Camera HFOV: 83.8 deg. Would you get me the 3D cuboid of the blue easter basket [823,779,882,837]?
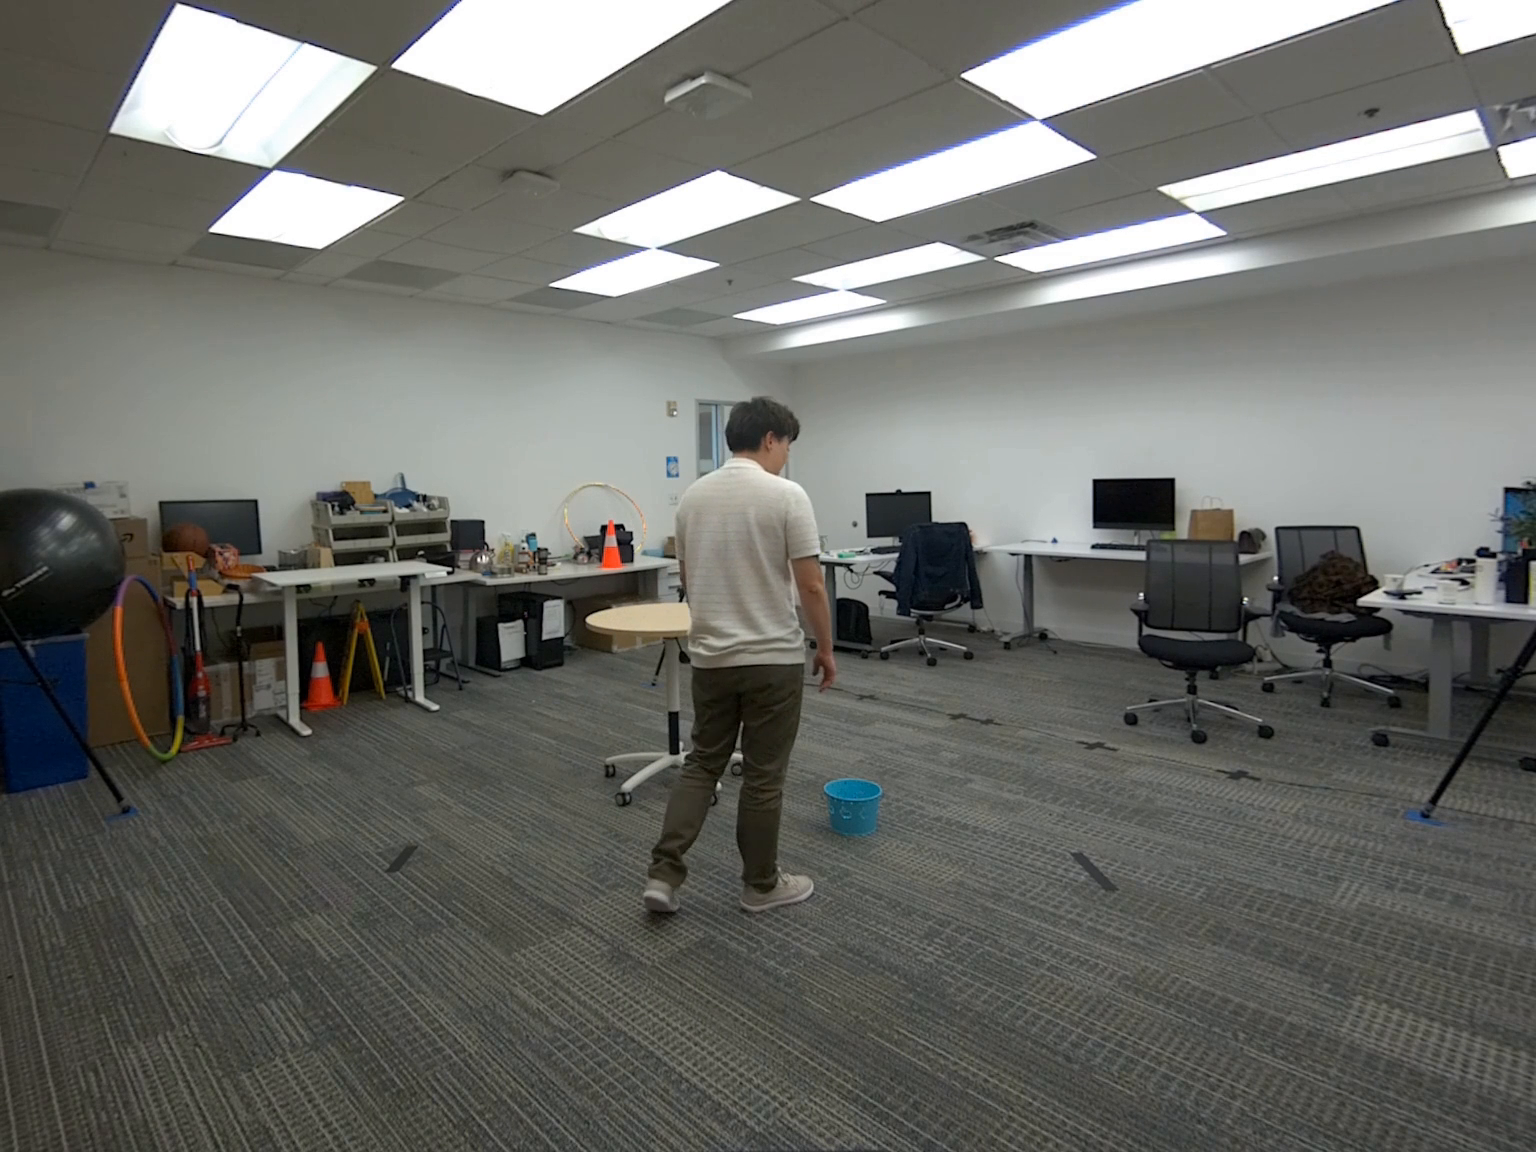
[{"bbox_3d":[0.344,0.921,3.426,0.243,0.155,0.245,-1,6,-2],"label":"blue easter basket"}]
